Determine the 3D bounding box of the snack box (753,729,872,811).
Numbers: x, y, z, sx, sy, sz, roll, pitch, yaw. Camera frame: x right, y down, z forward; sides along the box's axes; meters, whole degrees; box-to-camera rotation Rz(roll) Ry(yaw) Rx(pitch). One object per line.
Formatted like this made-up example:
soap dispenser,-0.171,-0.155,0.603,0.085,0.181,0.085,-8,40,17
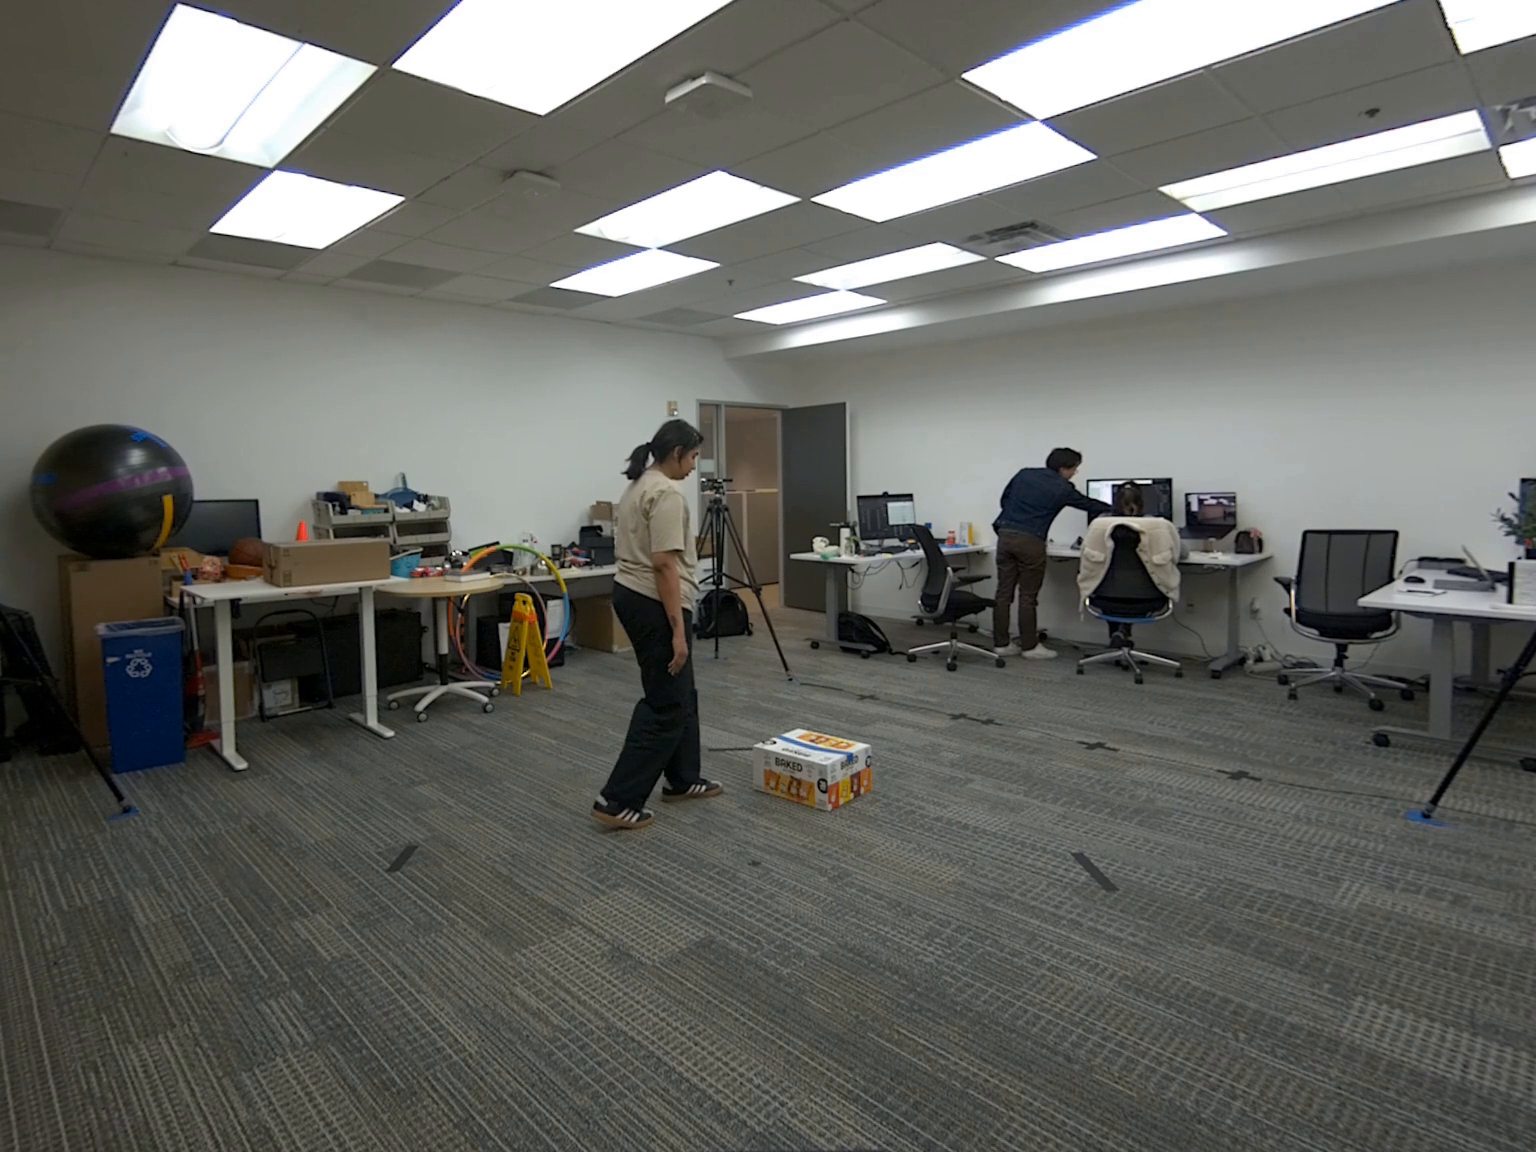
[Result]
snack box,0.198,0.857,3.827,0.417,0.205,0.331,4,7,40
